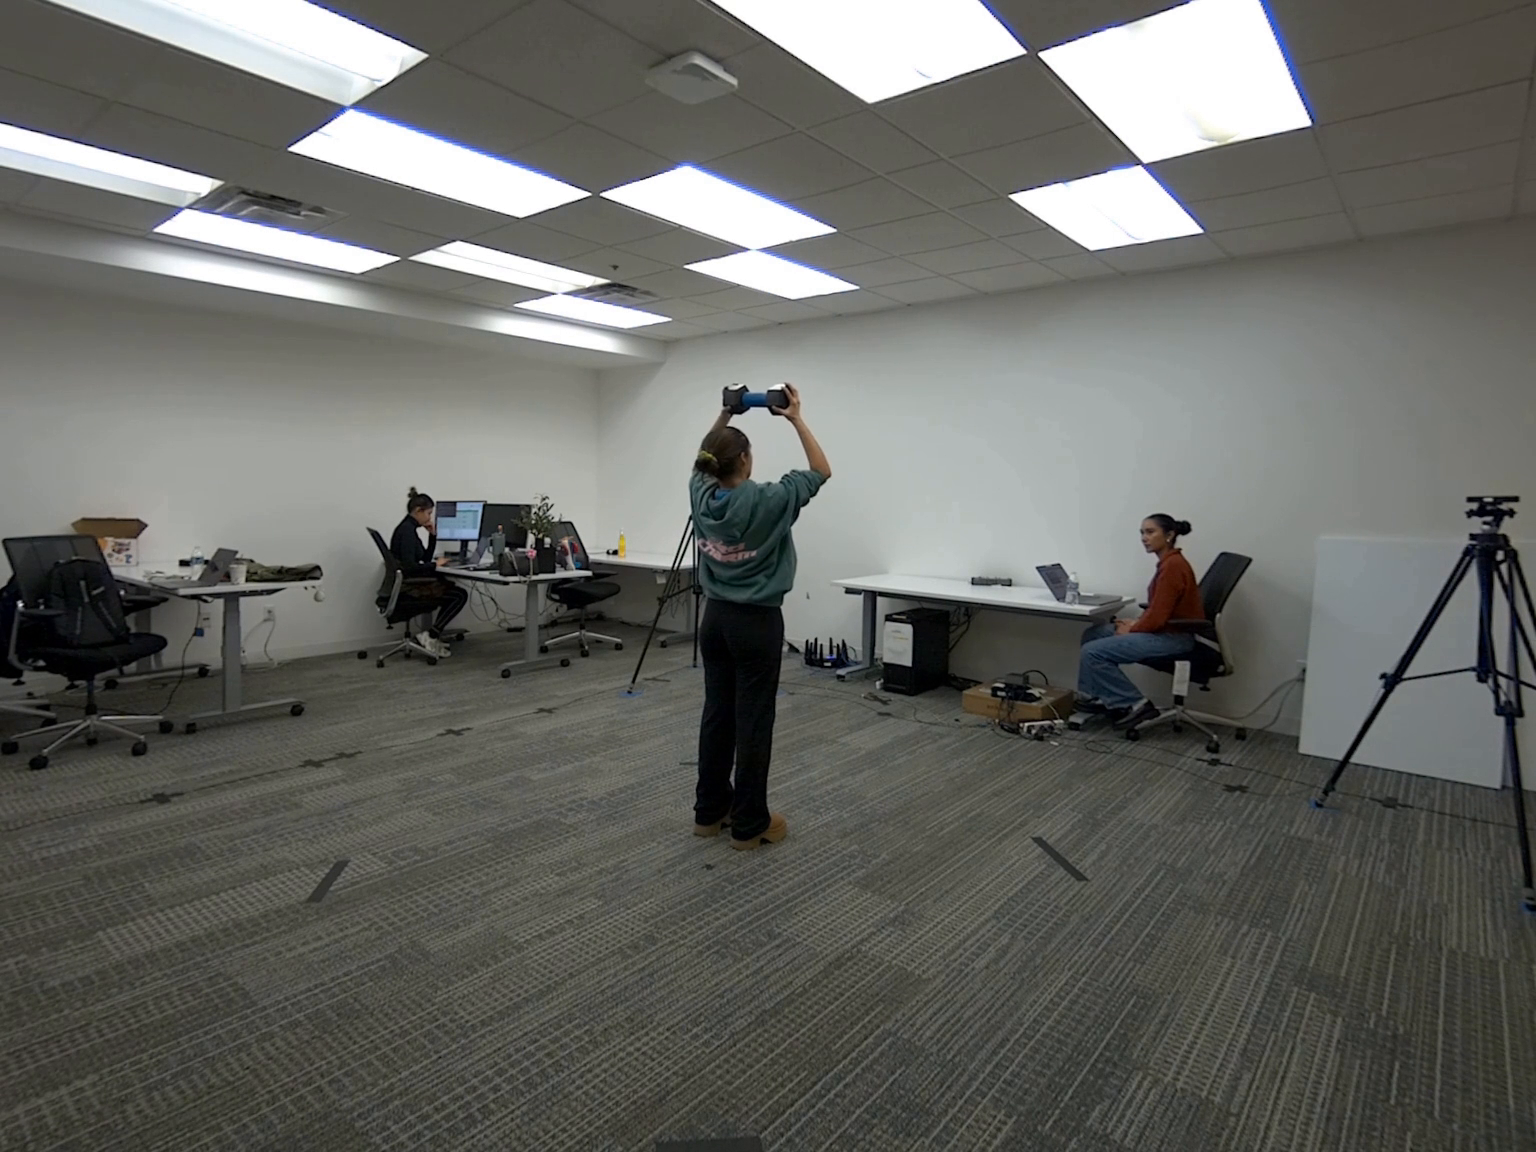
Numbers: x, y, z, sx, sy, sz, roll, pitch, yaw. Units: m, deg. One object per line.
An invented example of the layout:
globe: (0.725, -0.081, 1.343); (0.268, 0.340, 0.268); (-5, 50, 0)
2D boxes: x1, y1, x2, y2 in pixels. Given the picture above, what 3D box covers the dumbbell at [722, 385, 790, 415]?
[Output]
dumbbell: (-0.056, -0.706, 3.375); (0.304, 0.123, 0.105); (9, 4, 36)
